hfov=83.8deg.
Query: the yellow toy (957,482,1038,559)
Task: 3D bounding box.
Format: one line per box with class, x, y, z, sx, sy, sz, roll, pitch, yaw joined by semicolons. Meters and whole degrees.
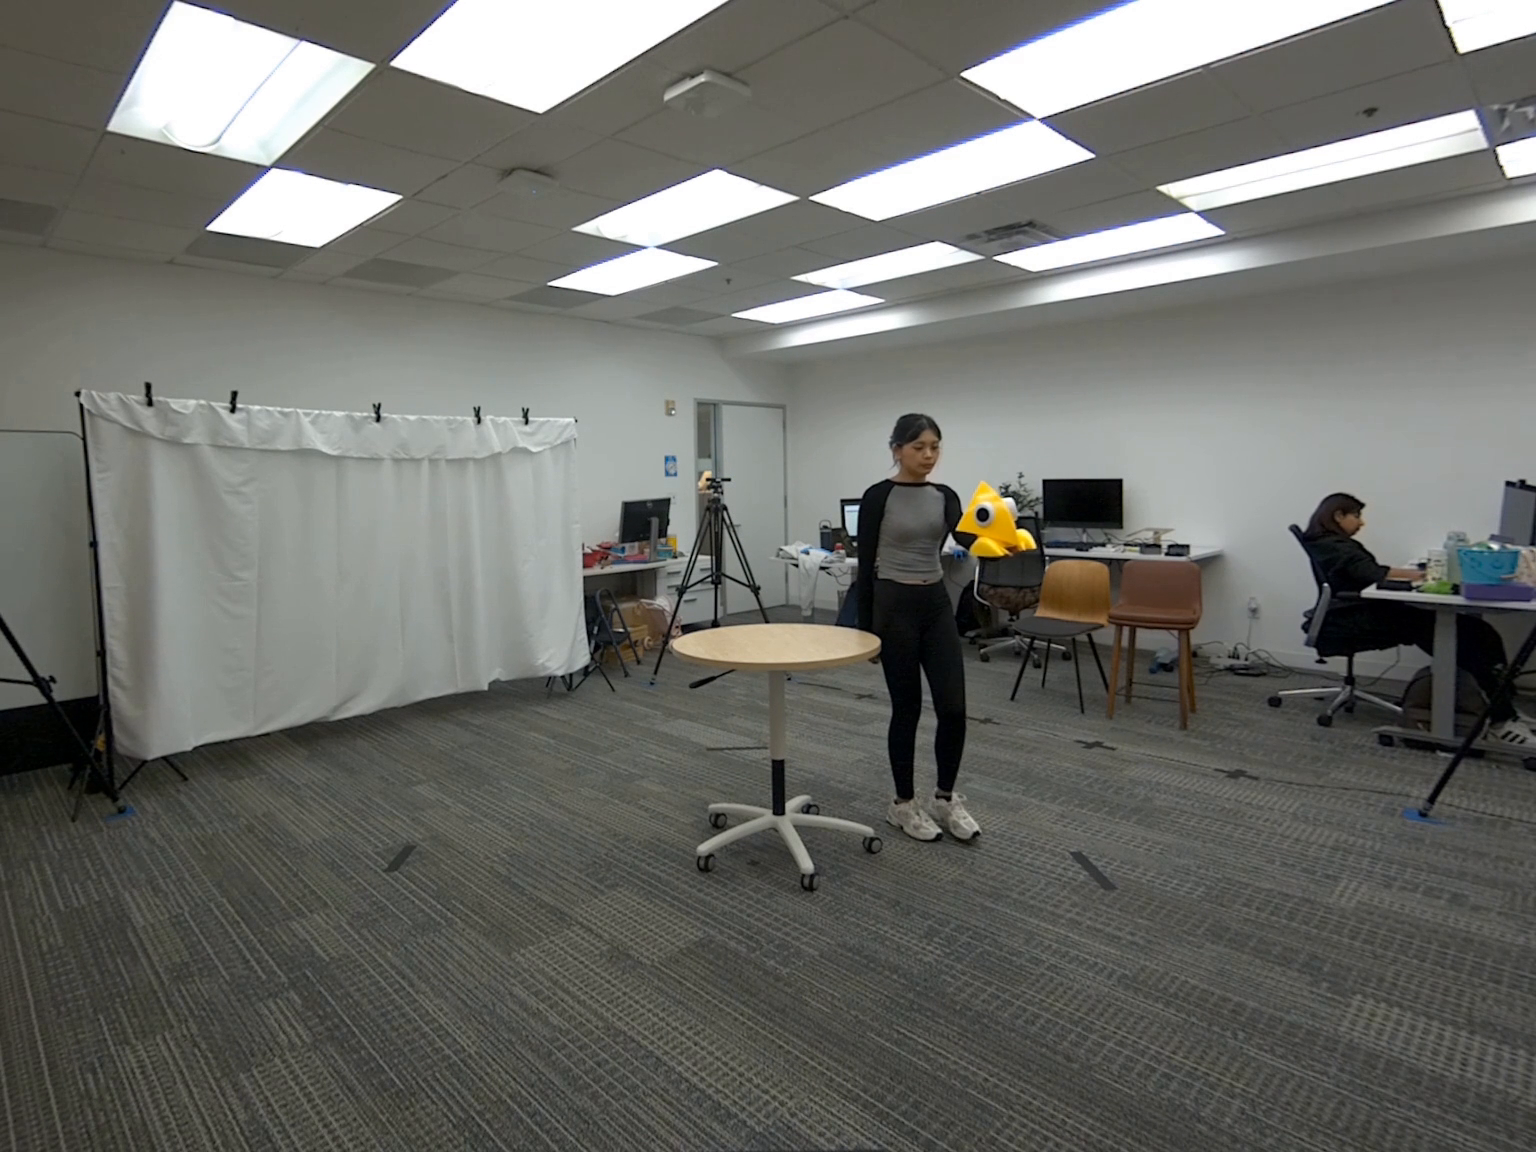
yellow toy;0.762;-0.197;2.803;0.202;0.229;0.197;-11;8;-21
